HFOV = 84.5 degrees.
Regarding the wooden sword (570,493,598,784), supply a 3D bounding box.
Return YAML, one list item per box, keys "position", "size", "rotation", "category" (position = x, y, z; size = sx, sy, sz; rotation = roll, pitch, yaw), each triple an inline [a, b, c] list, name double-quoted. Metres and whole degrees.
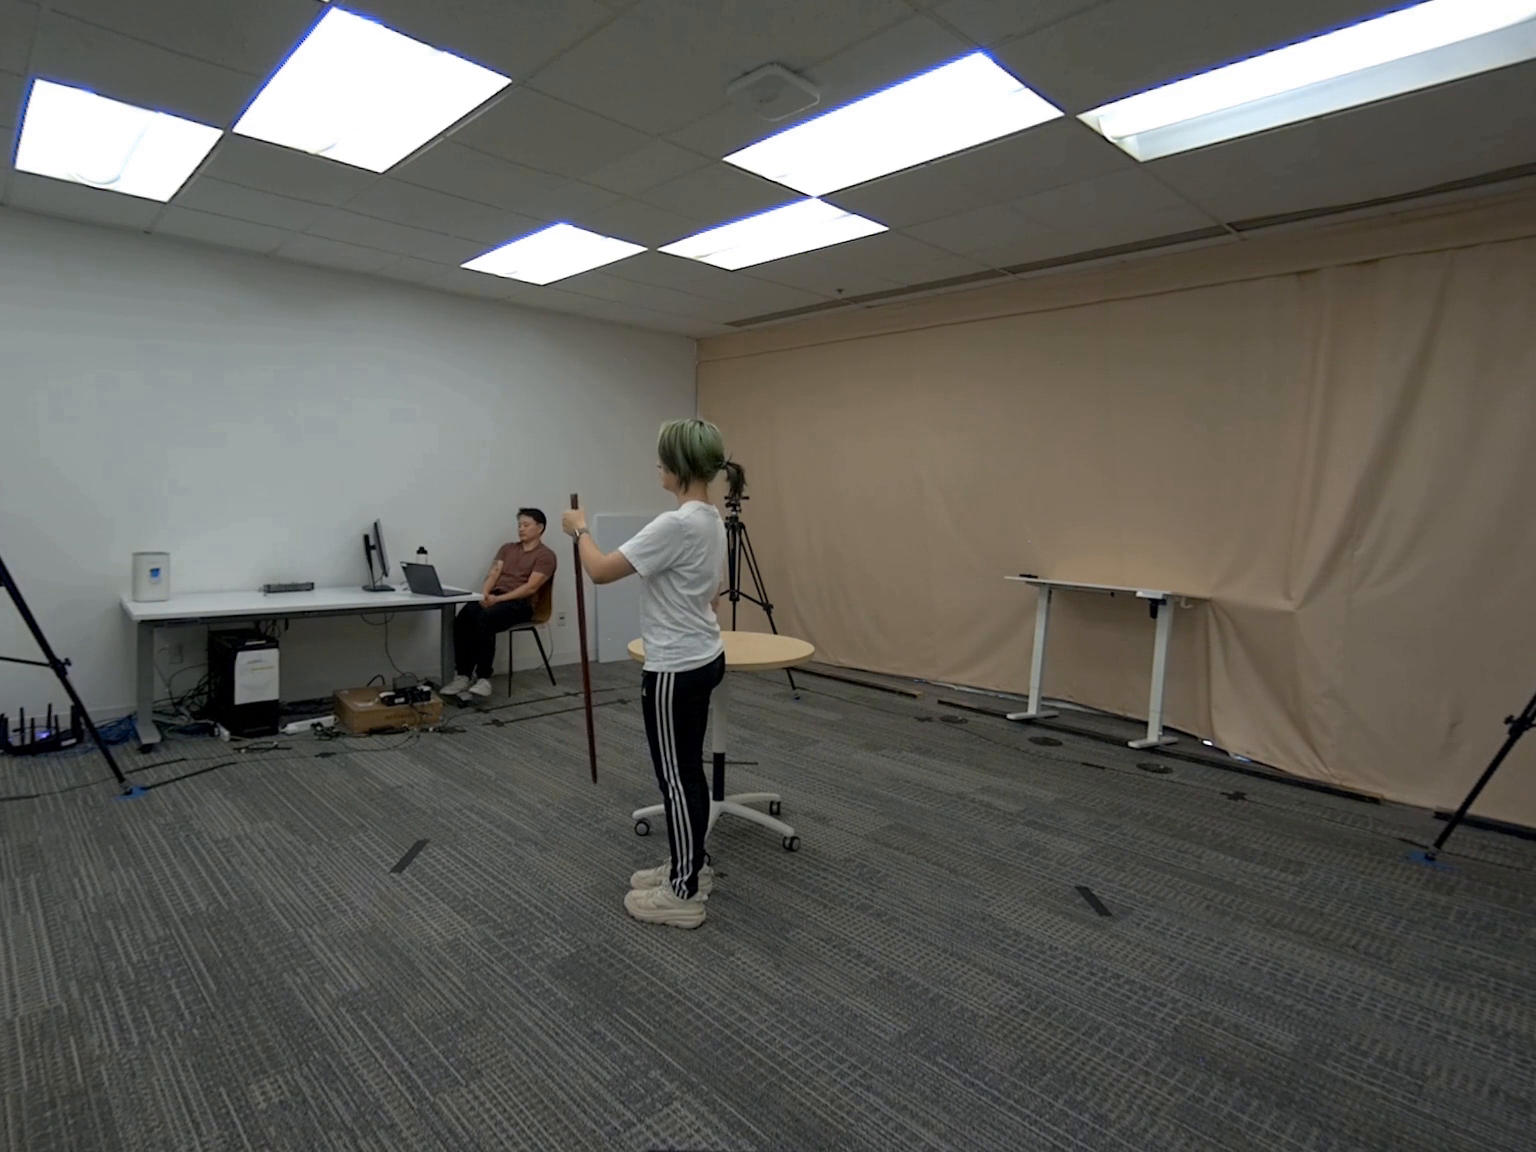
- position: [-0.637, 0.238, 2.877]
  size: [0.024, 1.017, 0.052]
  rotation: [-9, 10, -30]
  category: "wooden sword"
